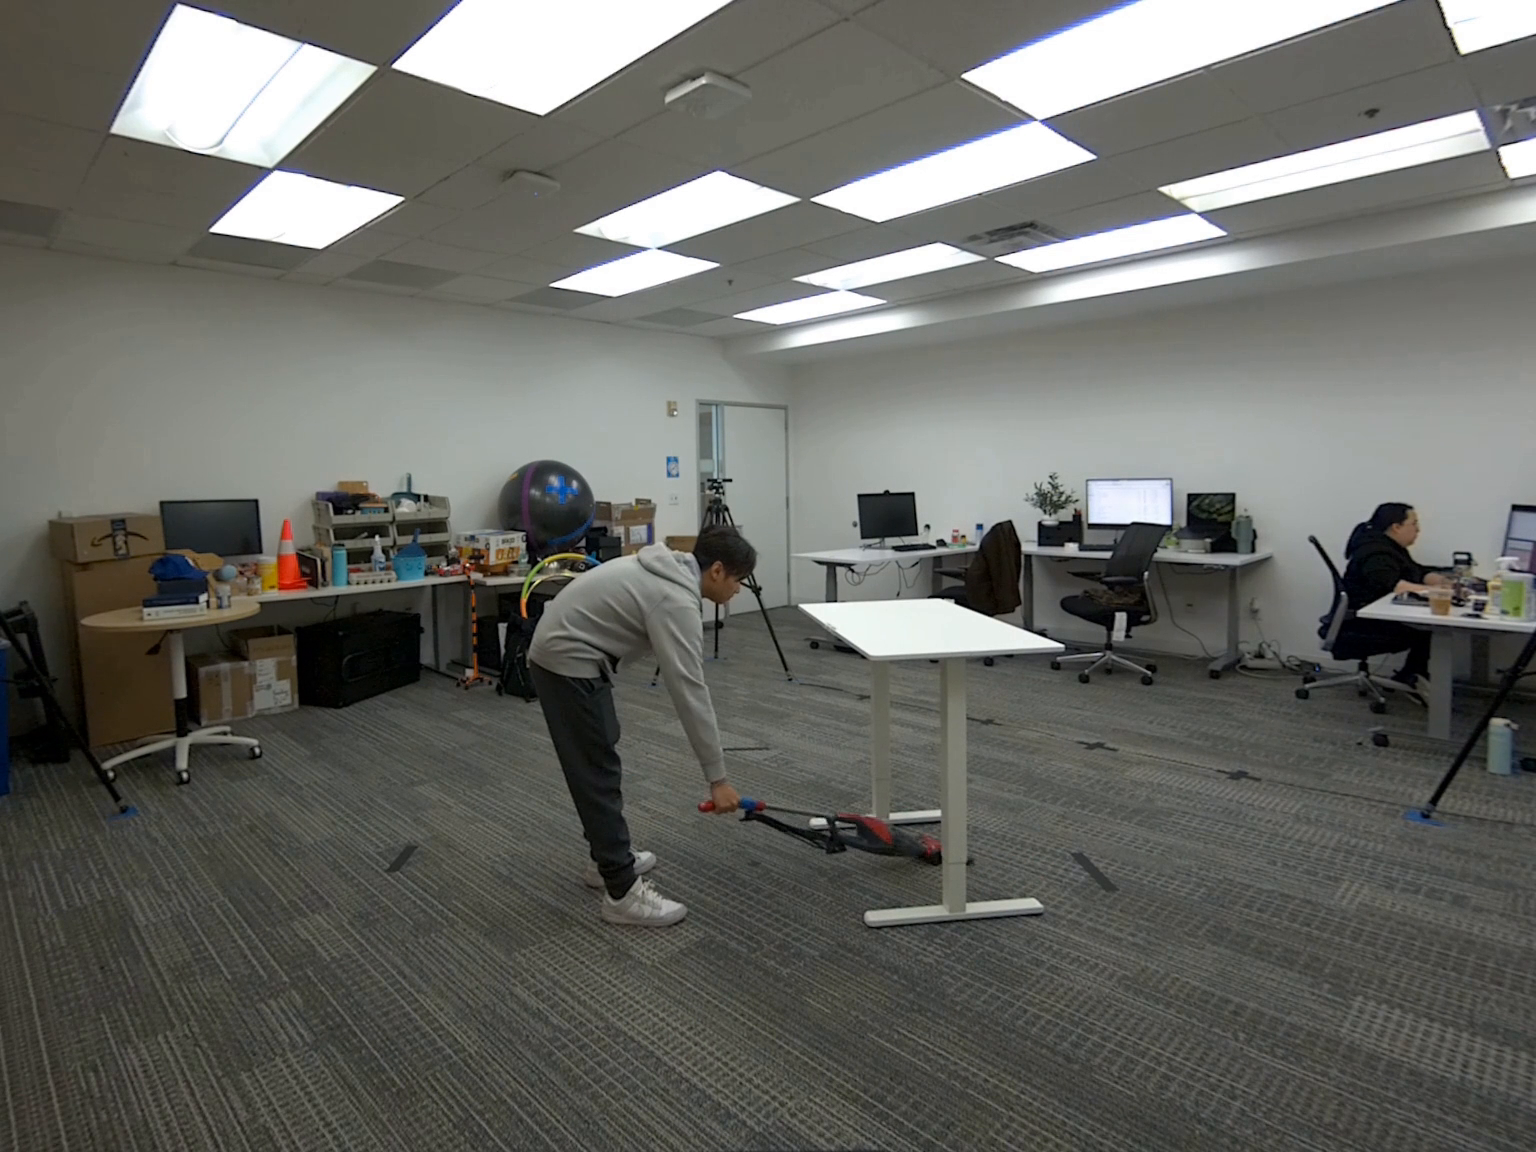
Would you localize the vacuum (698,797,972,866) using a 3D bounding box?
[{"bbox_3d":[0.207,0.860,2.886,1.016,0.146,0.257,18,-21,-32],"label":"vacuum"}]
